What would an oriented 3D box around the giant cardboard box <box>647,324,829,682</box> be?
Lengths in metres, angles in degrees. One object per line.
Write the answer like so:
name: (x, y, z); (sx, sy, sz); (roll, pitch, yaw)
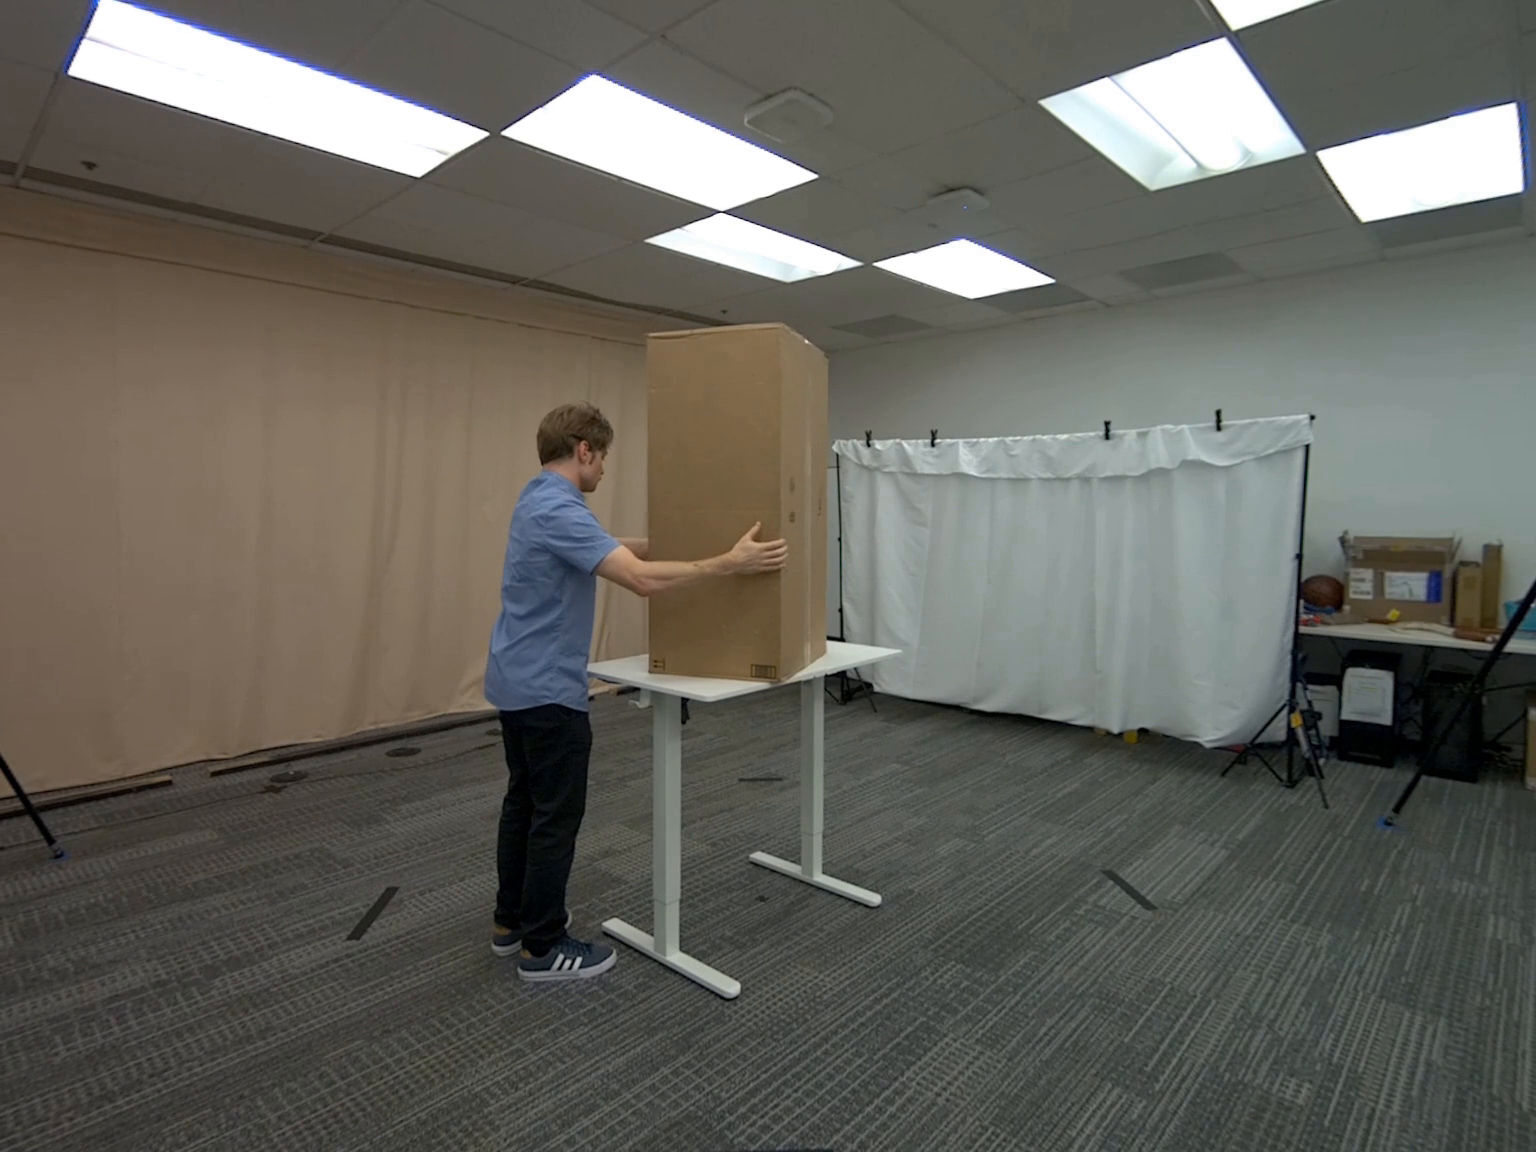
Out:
giant cardboard box: (-0.079, -0.225, 2.722); (0.435, 1.023, 0.566); (2, 4, 20)
